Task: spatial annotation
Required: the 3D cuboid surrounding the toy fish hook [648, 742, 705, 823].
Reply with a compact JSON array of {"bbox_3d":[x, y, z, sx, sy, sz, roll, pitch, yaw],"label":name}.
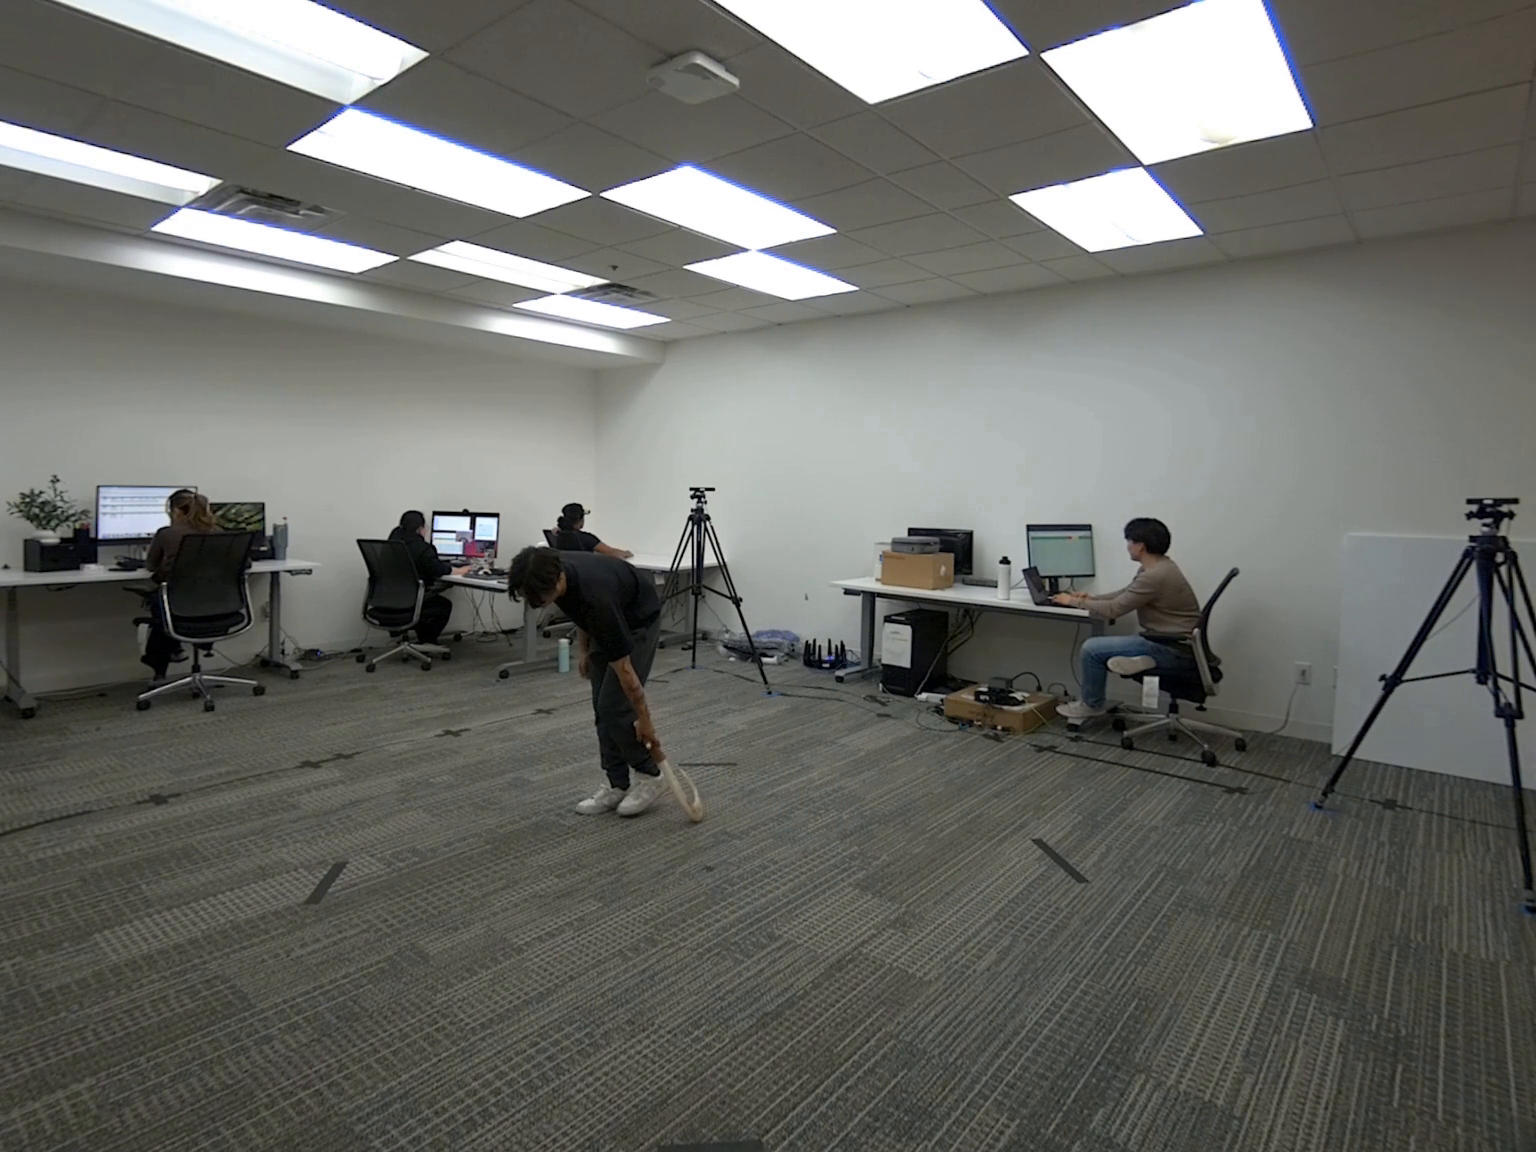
[{"bbox_3d":[-0.419,0.808,3.589,0.048,0.503,0.226,-32,5,4],"label":"toy fish hook"}]
